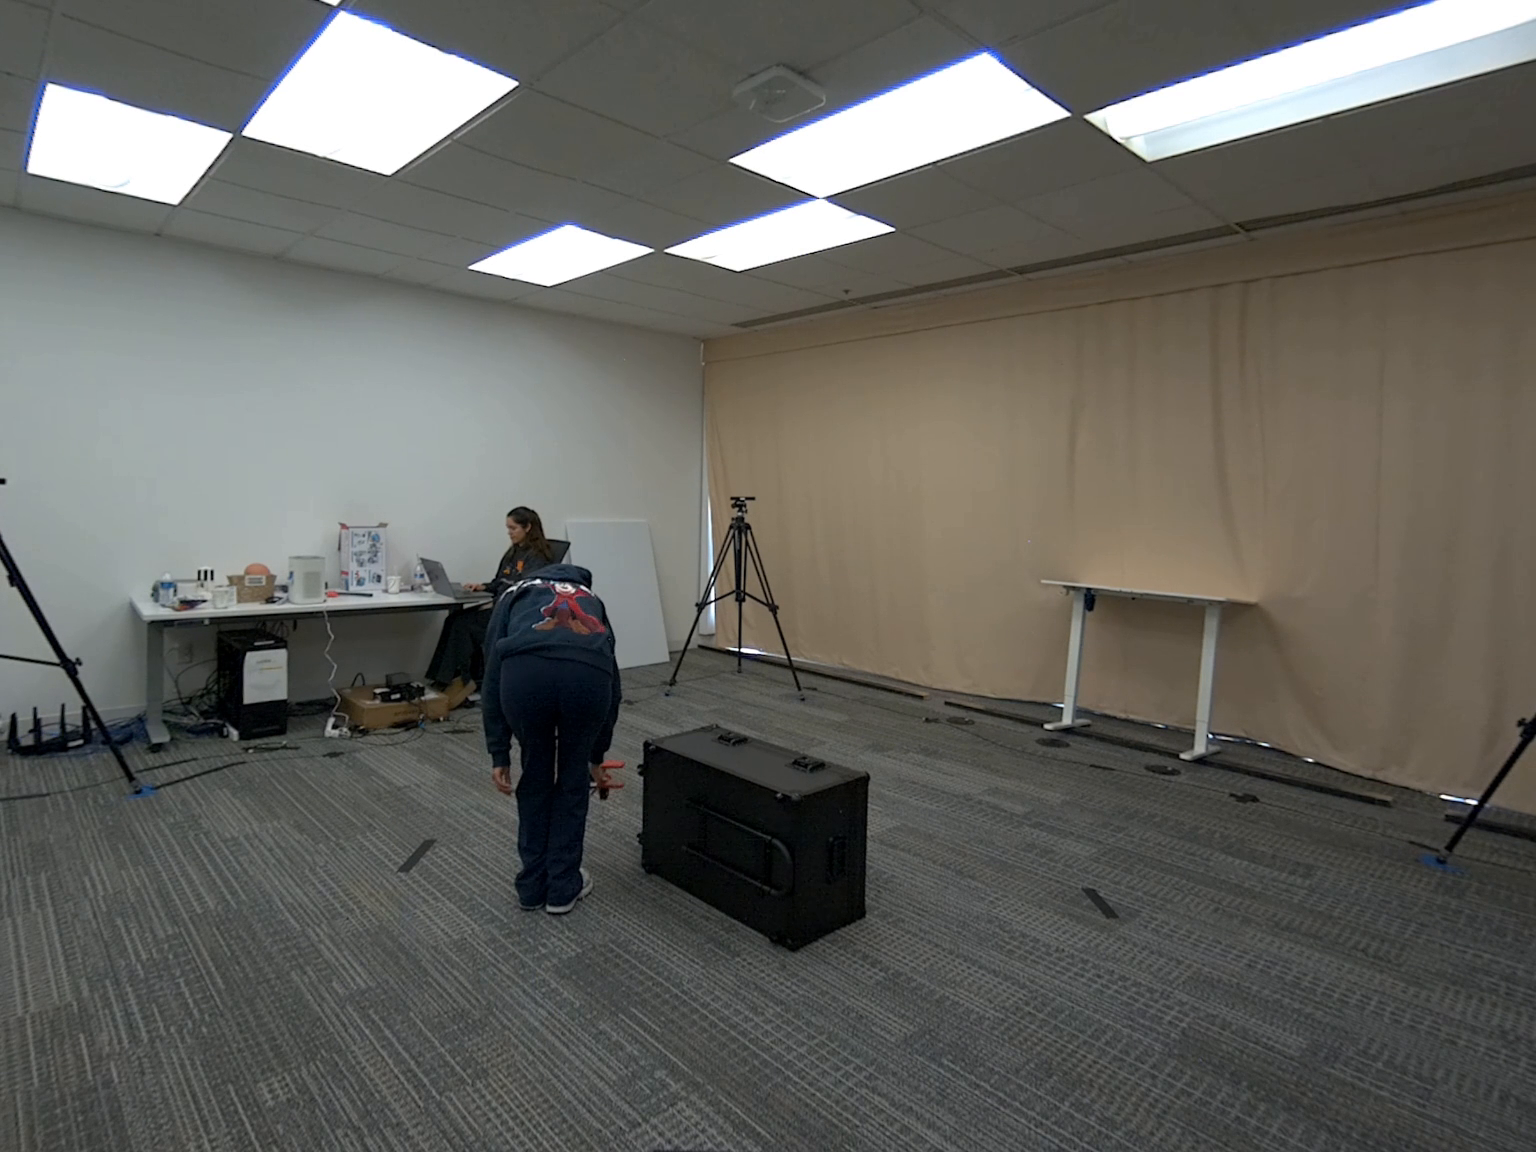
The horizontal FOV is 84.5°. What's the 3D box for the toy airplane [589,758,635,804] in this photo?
[{"bbox_3d":[-0.678,0.778,3.255,0.247,0.158,0.261,9,-15,-21],"label":"toy airplane"}]
